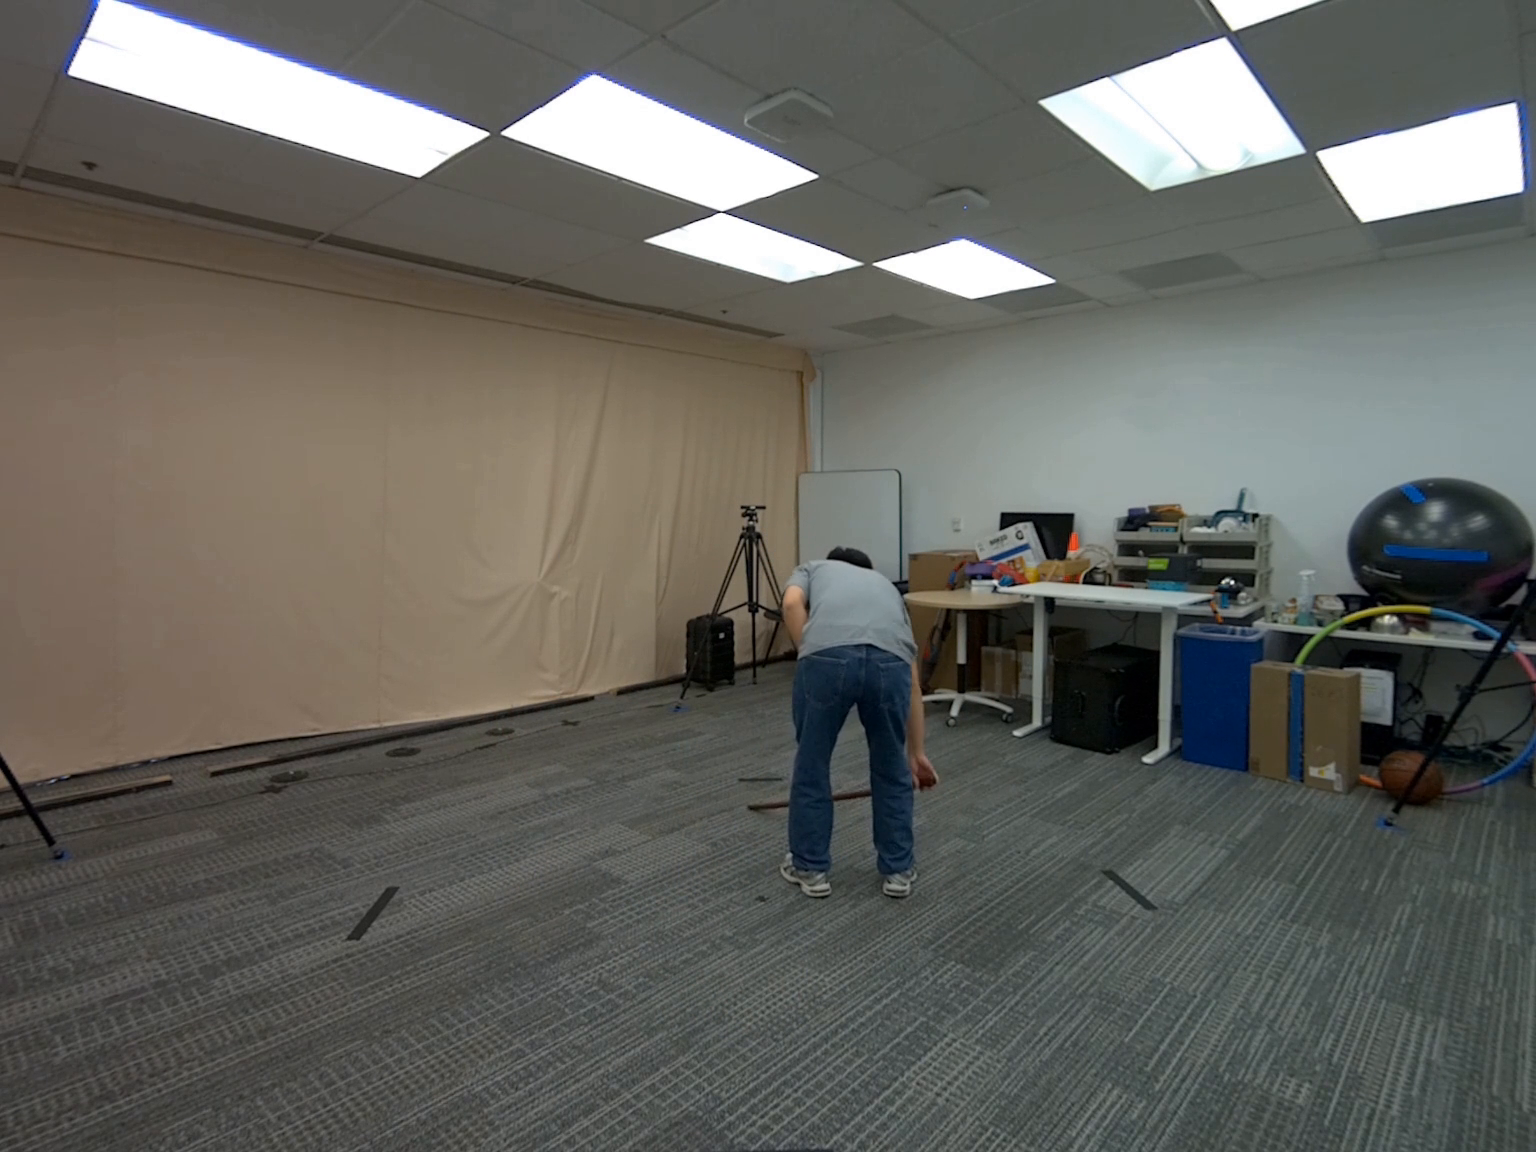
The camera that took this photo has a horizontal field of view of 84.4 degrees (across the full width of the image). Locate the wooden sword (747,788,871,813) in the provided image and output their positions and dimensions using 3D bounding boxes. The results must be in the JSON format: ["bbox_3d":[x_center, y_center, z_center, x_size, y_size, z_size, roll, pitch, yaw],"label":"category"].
[{"bbox_3d":[0.262,0.932,3.531,0.049,0.024,1.049,25,-31,-37],"label":"wooden sword"}]
